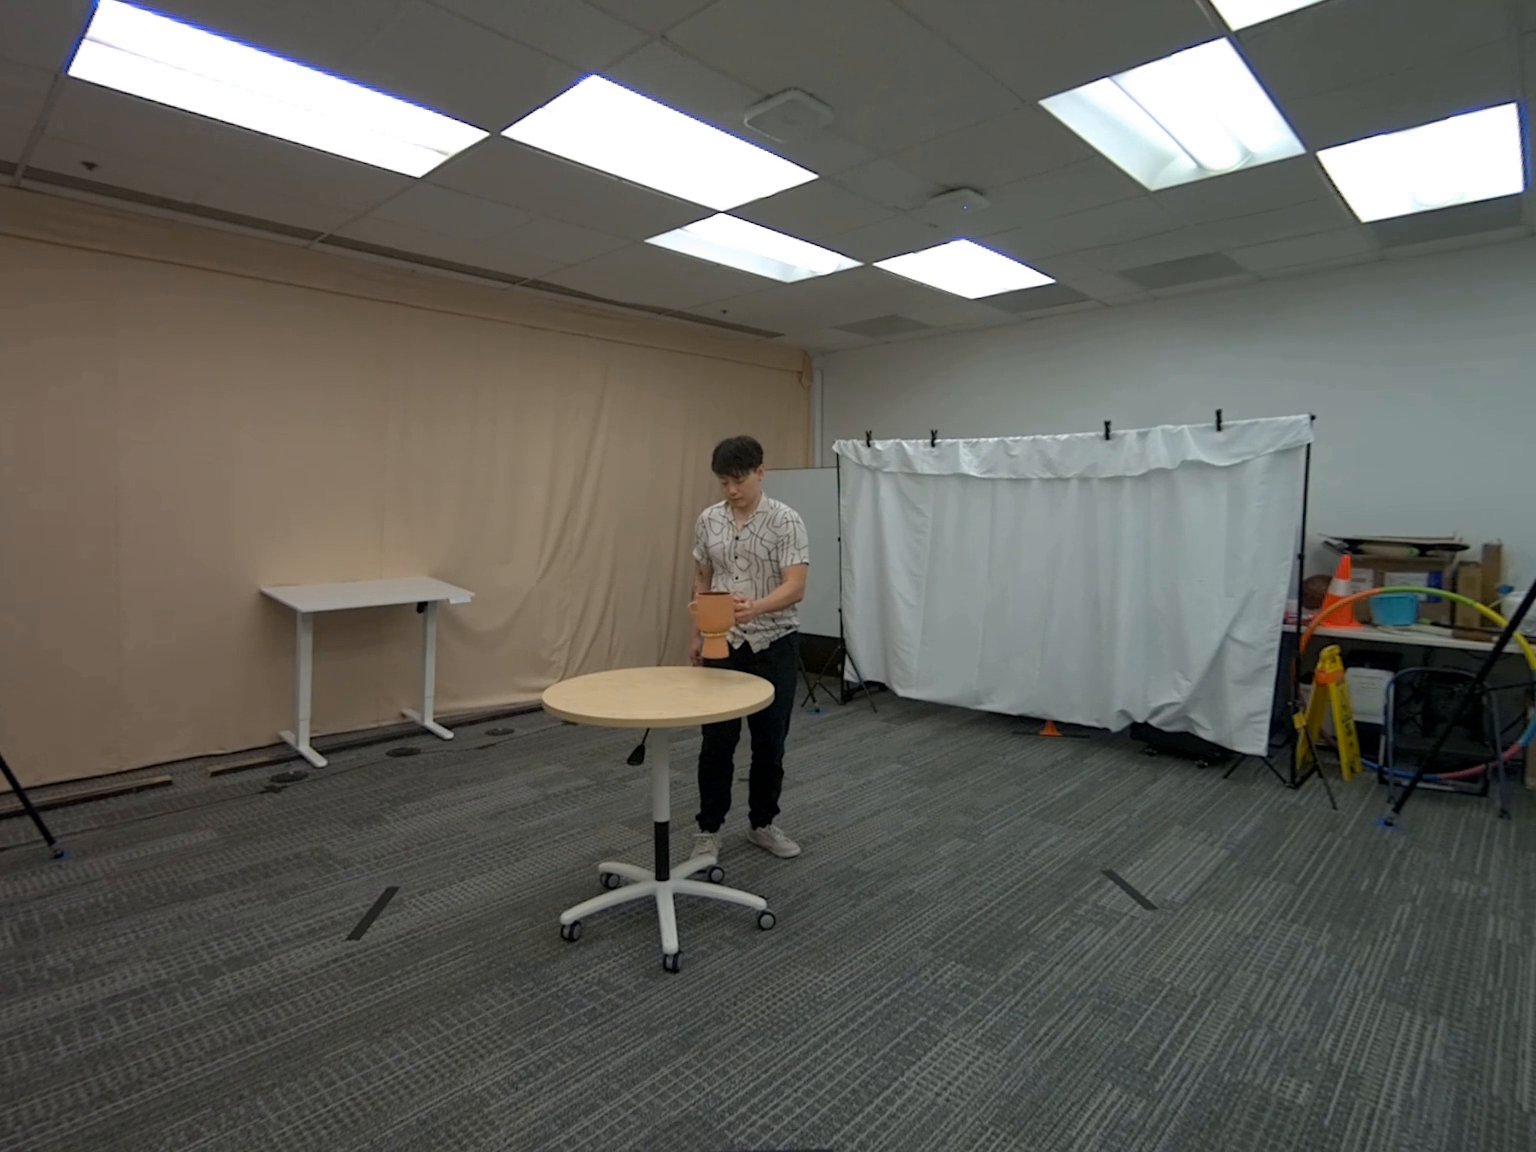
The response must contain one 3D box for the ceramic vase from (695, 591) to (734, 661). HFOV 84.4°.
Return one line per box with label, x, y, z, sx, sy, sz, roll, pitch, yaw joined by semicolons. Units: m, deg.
ceramic vase;-0.189;0.172;2.954;0.162;0.219;0.132;1;5;21
